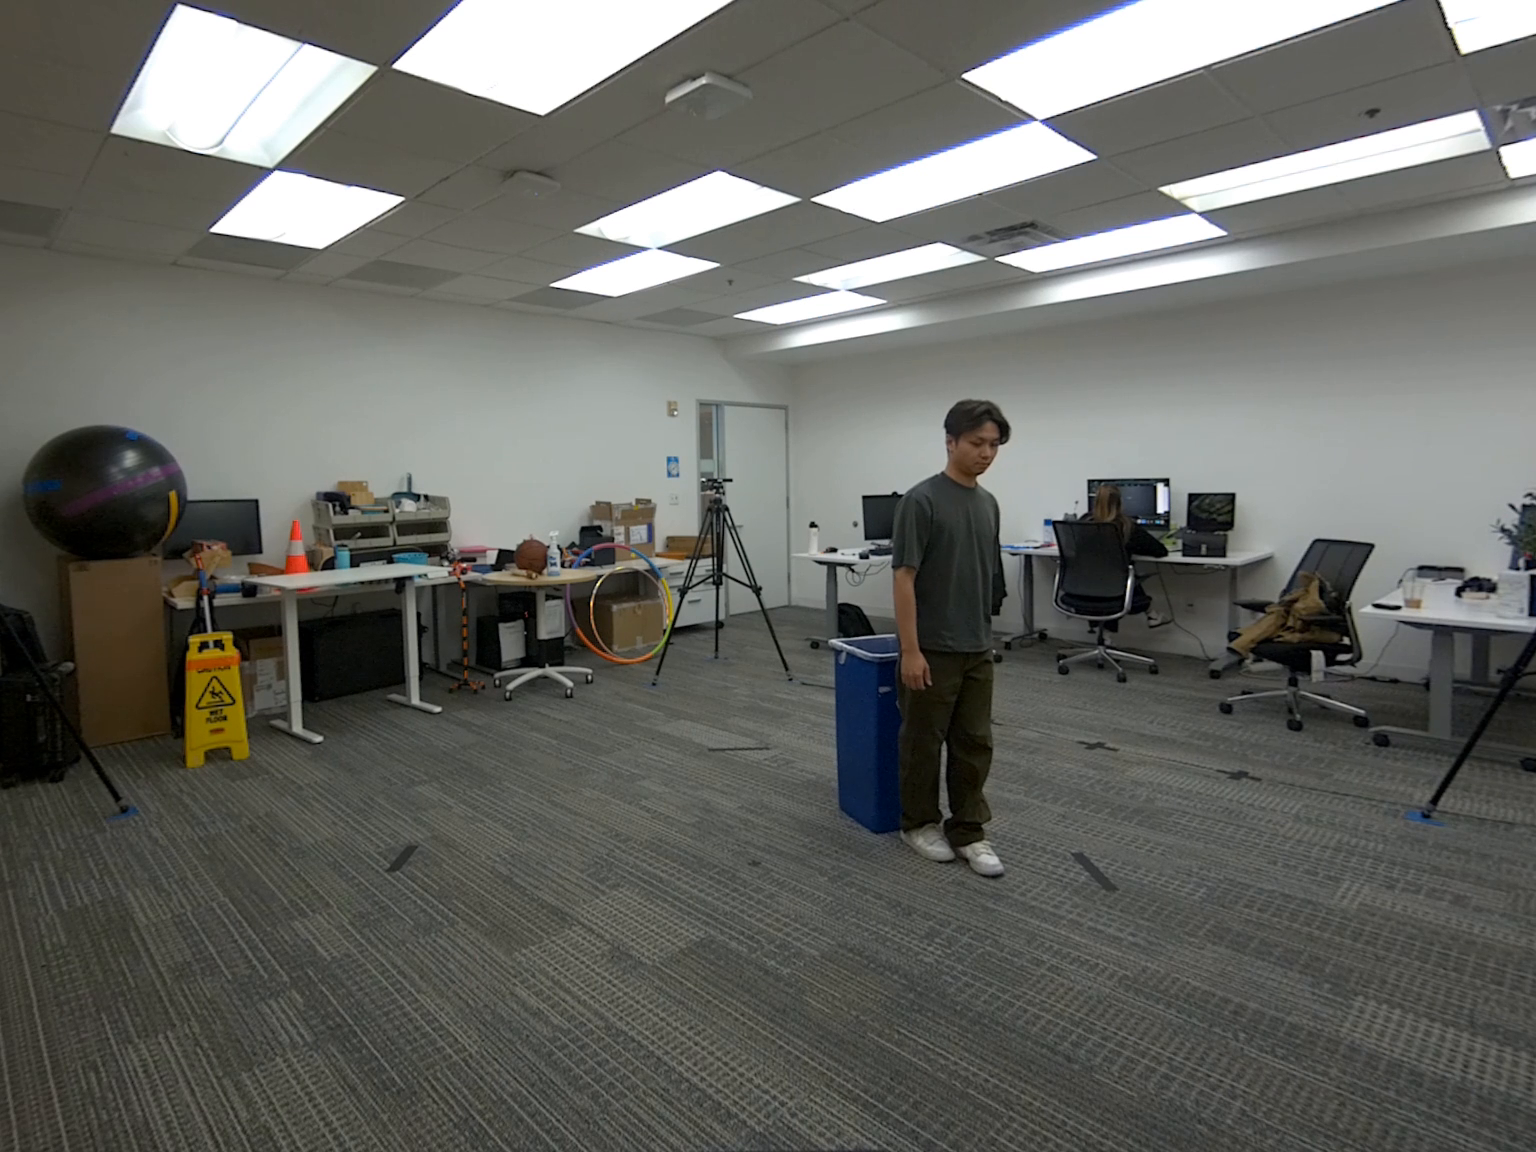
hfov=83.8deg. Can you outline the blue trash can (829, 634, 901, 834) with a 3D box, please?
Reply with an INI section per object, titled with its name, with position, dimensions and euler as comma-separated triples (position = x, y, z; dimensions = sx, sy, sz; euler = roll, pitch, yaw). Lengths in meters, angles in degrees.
[blue trash can]
position = 0.496, 0.630, 3.518
dimensions = 0.366, 0.711, 0.387
euler = -2, 5, -24
